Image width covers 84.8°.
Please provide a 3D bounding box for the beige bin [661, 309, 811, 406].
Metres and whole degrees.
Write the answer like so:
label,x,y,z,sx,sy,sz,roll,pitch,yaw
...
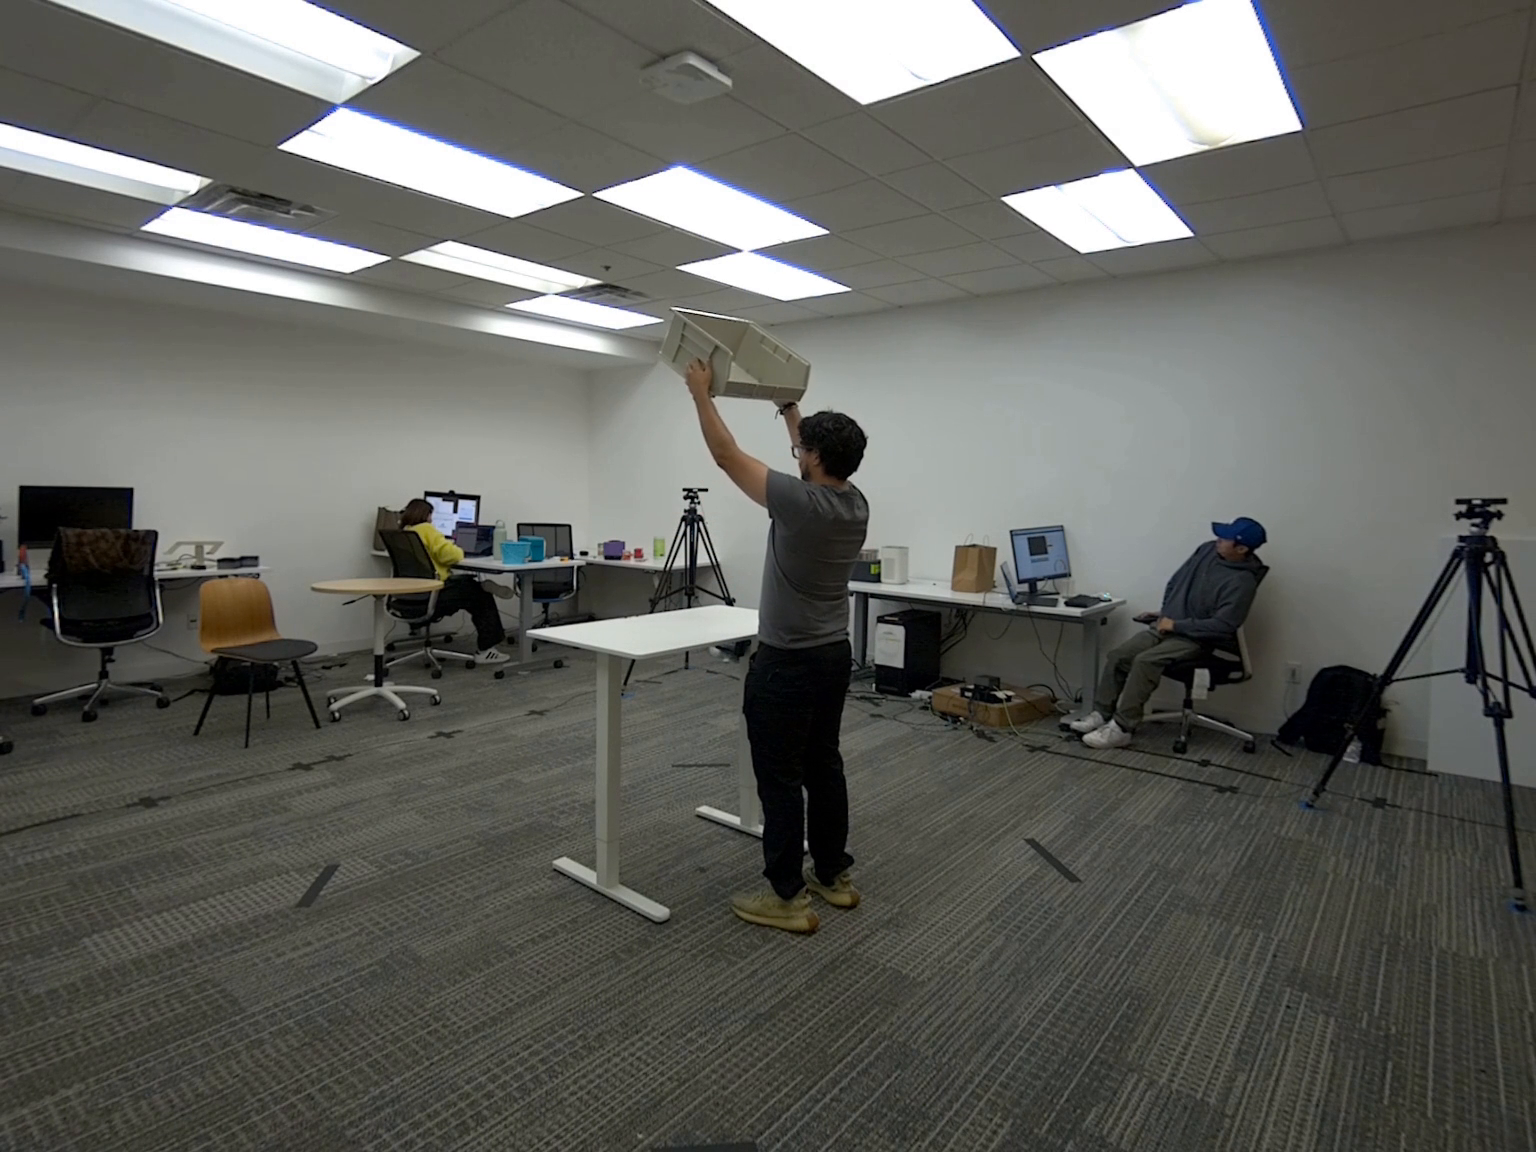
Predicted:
label,x,y,z,sx,sy,sz,roll,pitch,yaw
beige bin,-0.127,-0.773,3.048,0.410,0.187,0.392,-7,39,-46
